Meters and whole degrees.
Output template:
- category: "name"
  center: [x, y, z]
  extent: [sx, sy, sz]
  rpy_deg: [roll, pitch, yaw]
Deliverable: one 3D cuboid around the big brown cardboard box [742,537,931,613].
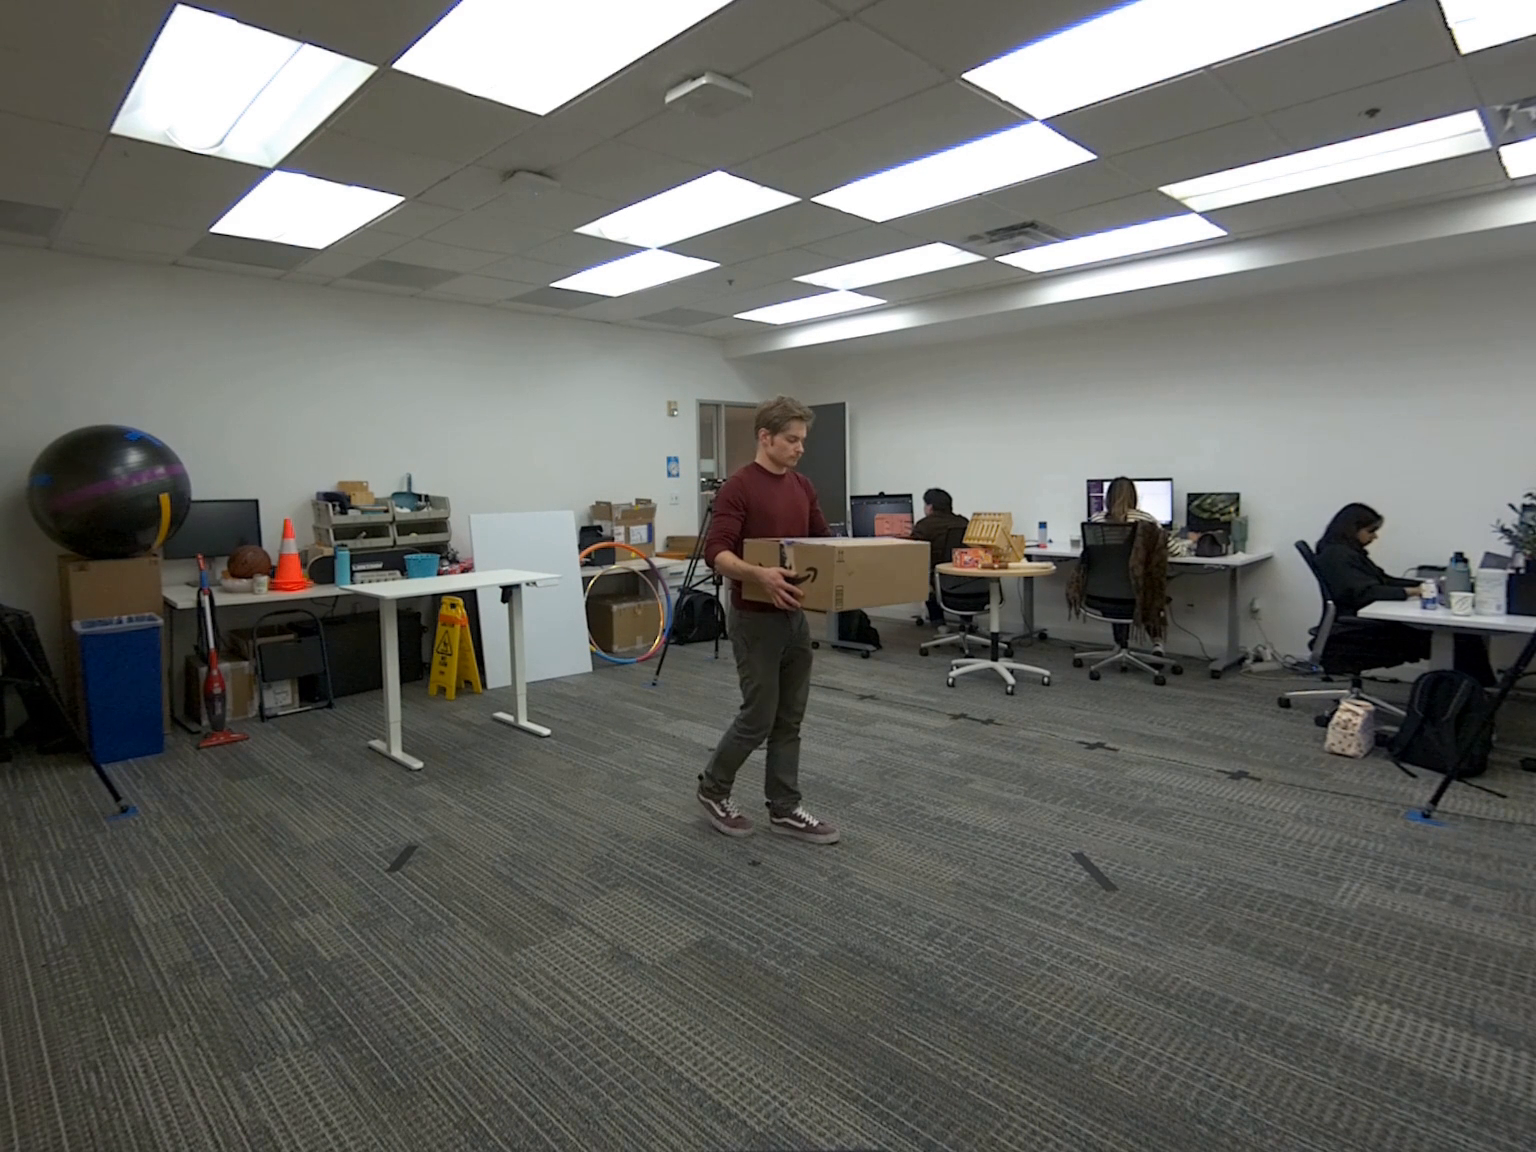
- category: "big brown cardboard box"
  center: [0.255, -0.015, 3.073]
  extent: [0.431, 0.232, 0.573]
  rpy_deg: [6, 7, 44]
